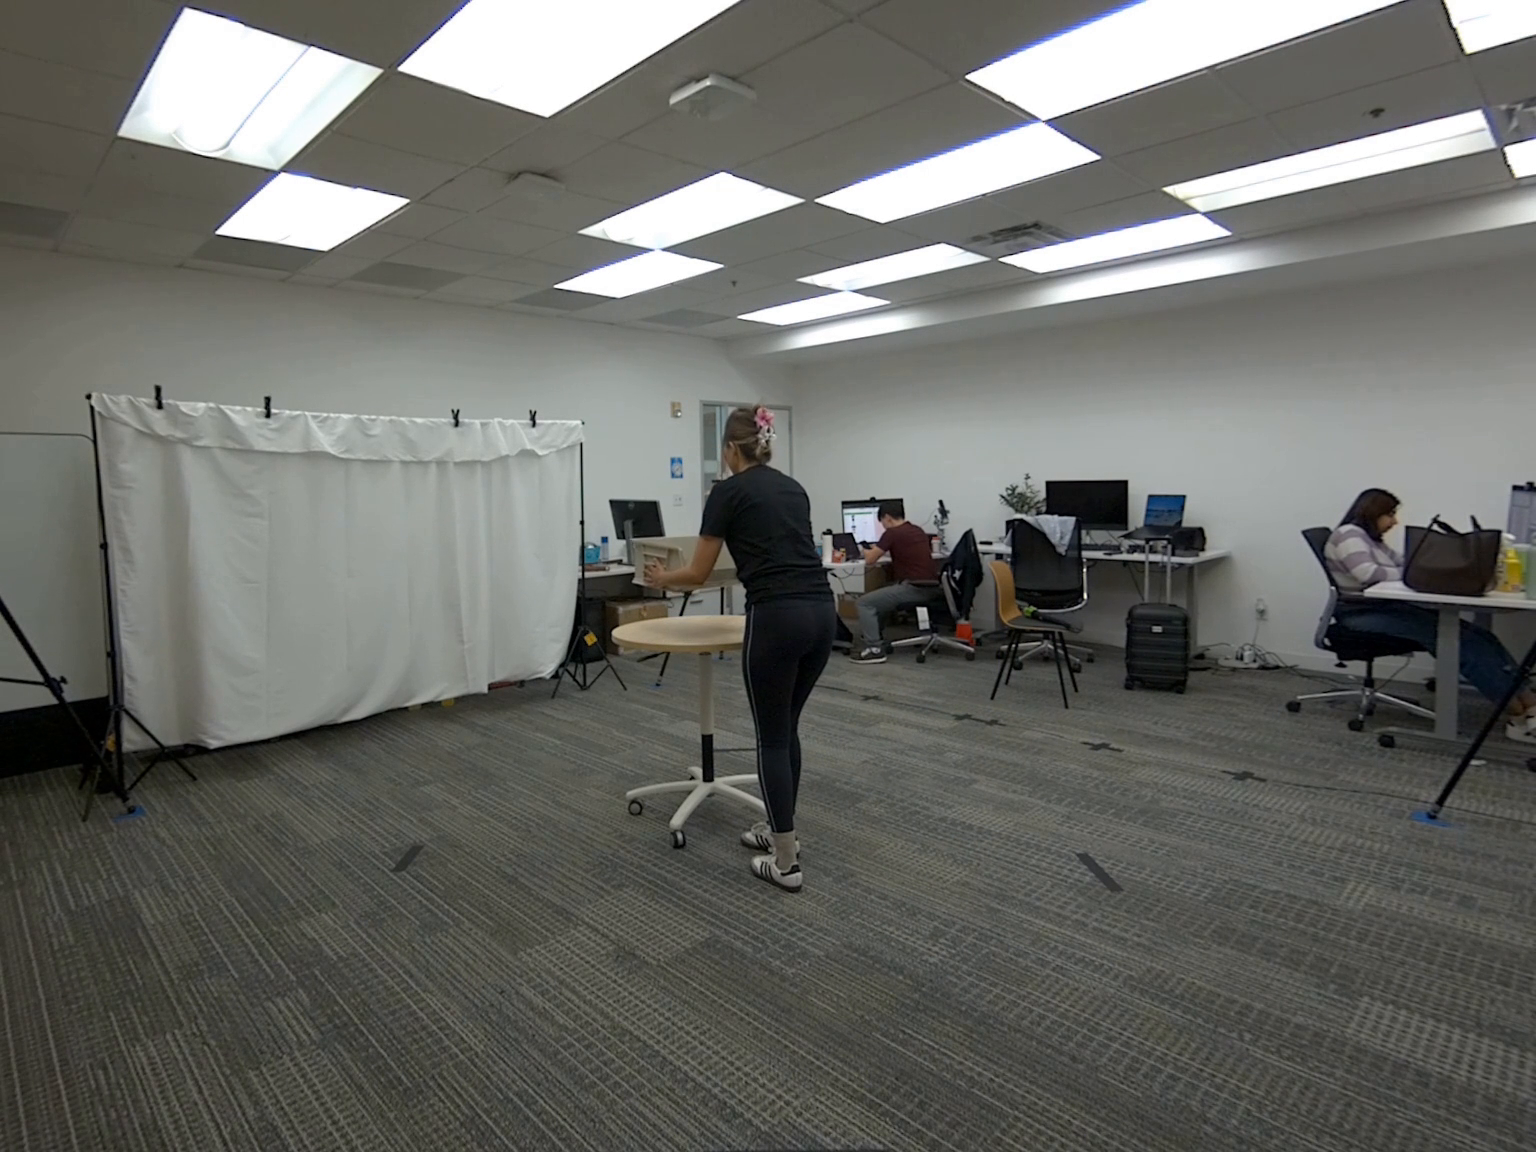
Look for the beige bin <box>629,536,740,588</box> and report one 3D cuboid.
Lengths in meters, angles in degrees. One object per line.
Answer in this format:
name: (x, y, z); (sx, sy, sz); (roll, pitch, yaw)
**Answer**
beige bin: (-0.294, -0.055, 3.506); (0.411, 0.188, 0.389); (-7, 9, -41)
